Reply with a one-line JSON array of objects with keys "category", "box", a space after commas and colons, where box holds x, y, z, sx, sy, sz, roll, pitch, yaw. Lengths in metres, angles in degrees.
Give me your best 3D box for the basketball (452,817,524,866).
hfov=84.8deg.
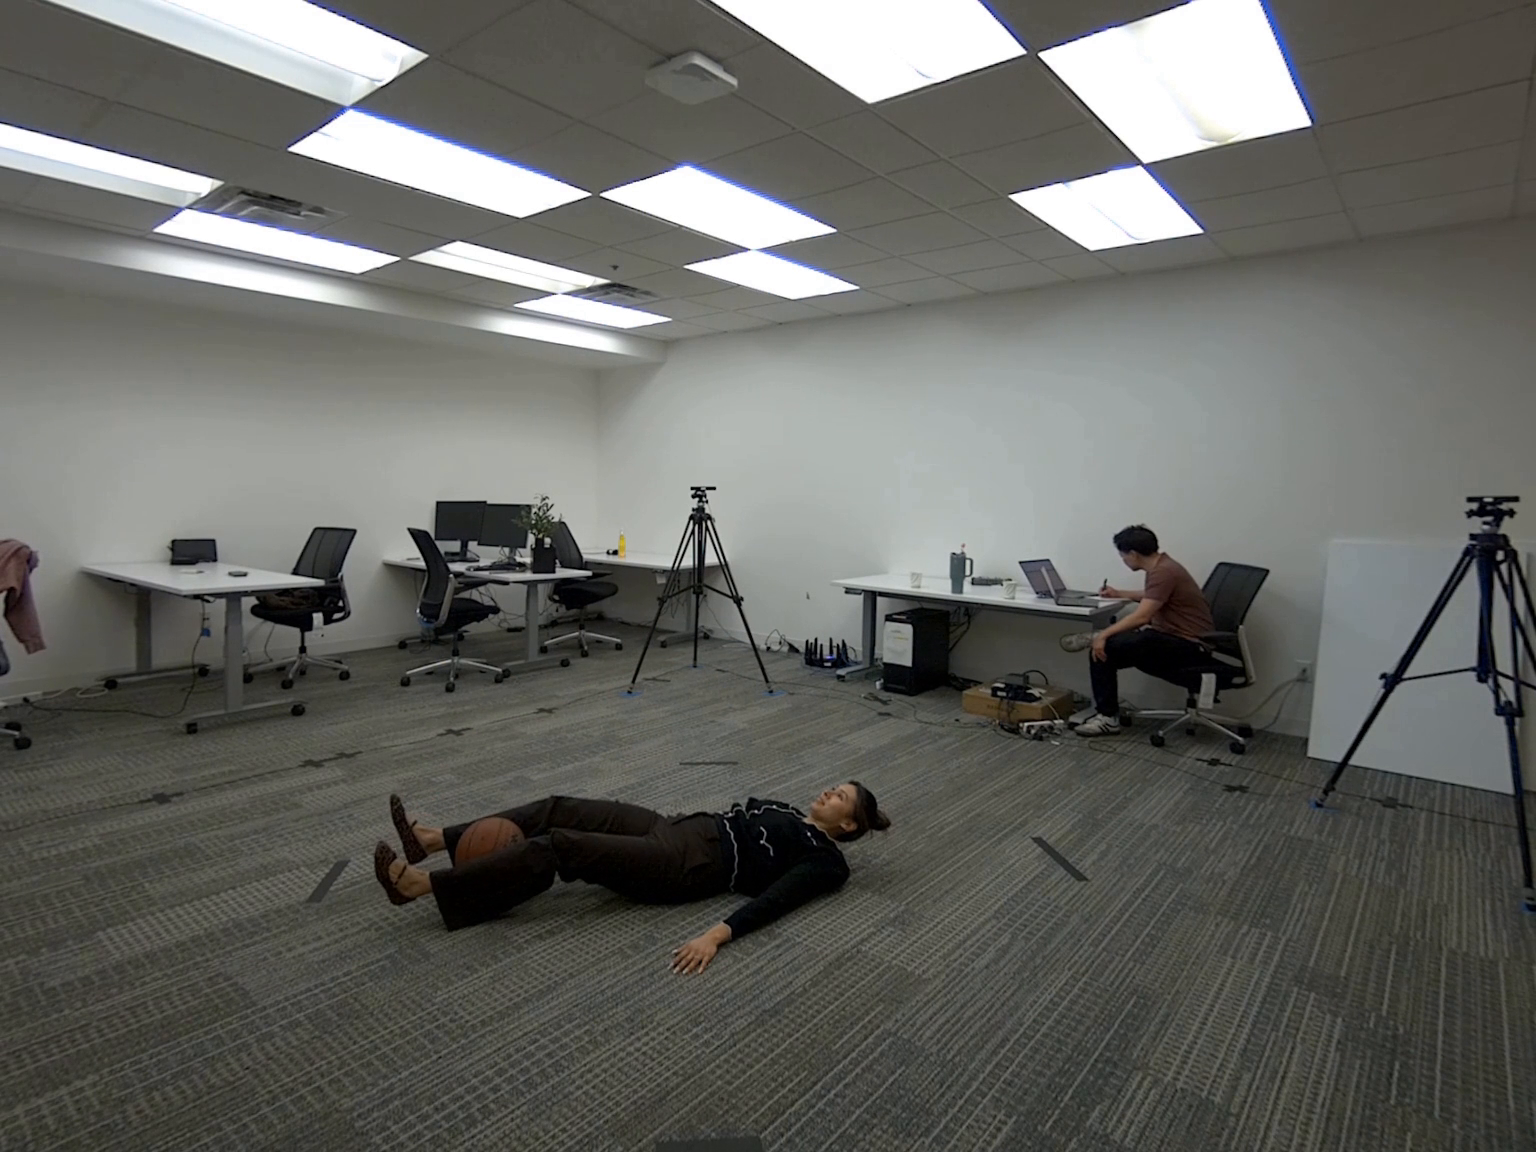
[{"category": "basketball", "box": [-0.939, 0.928, 2.859, 0.236, 0.235, 0.237, 1, 4, -2]}]
